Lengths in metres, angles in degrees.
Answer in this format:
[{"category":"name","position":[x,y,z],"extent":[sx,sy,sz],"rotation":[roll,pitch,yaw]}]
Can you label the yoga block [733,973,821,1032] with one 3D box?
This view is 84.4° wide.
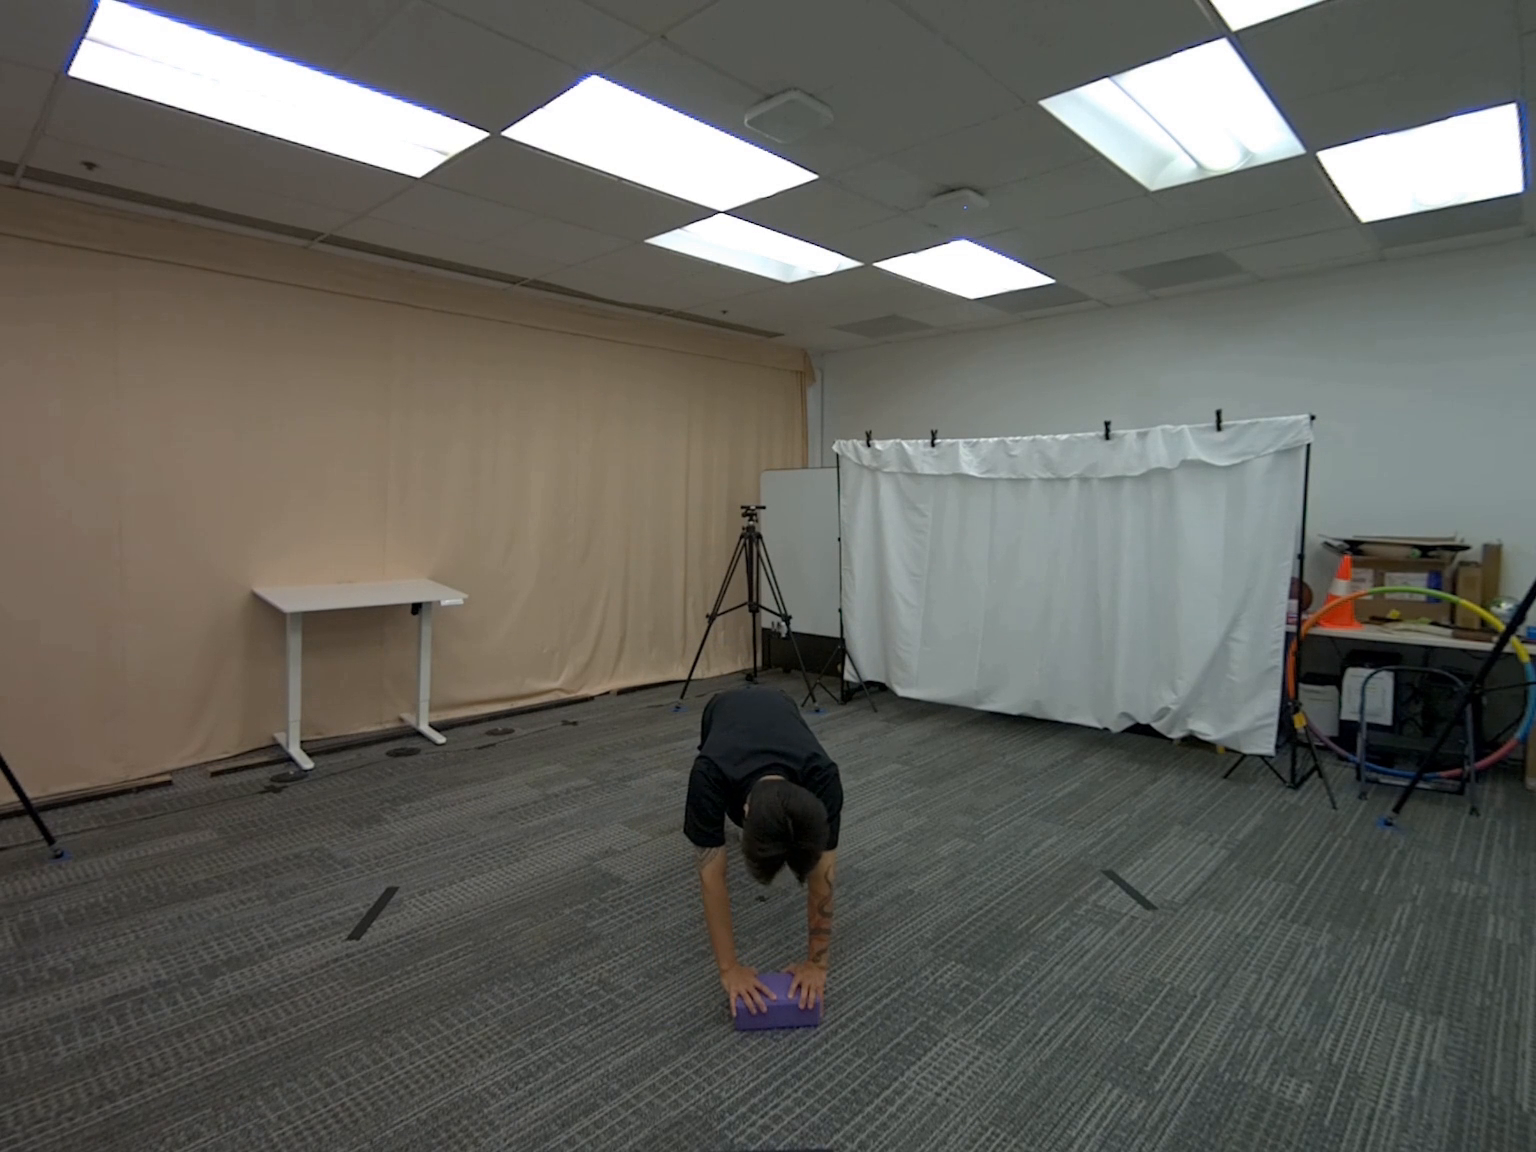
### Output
[{"category":"yoga block","position":[0.014,1.156,2.312],"extent":[0.228,0.076,0.151],"rotation":[-1,7,-7]}]
